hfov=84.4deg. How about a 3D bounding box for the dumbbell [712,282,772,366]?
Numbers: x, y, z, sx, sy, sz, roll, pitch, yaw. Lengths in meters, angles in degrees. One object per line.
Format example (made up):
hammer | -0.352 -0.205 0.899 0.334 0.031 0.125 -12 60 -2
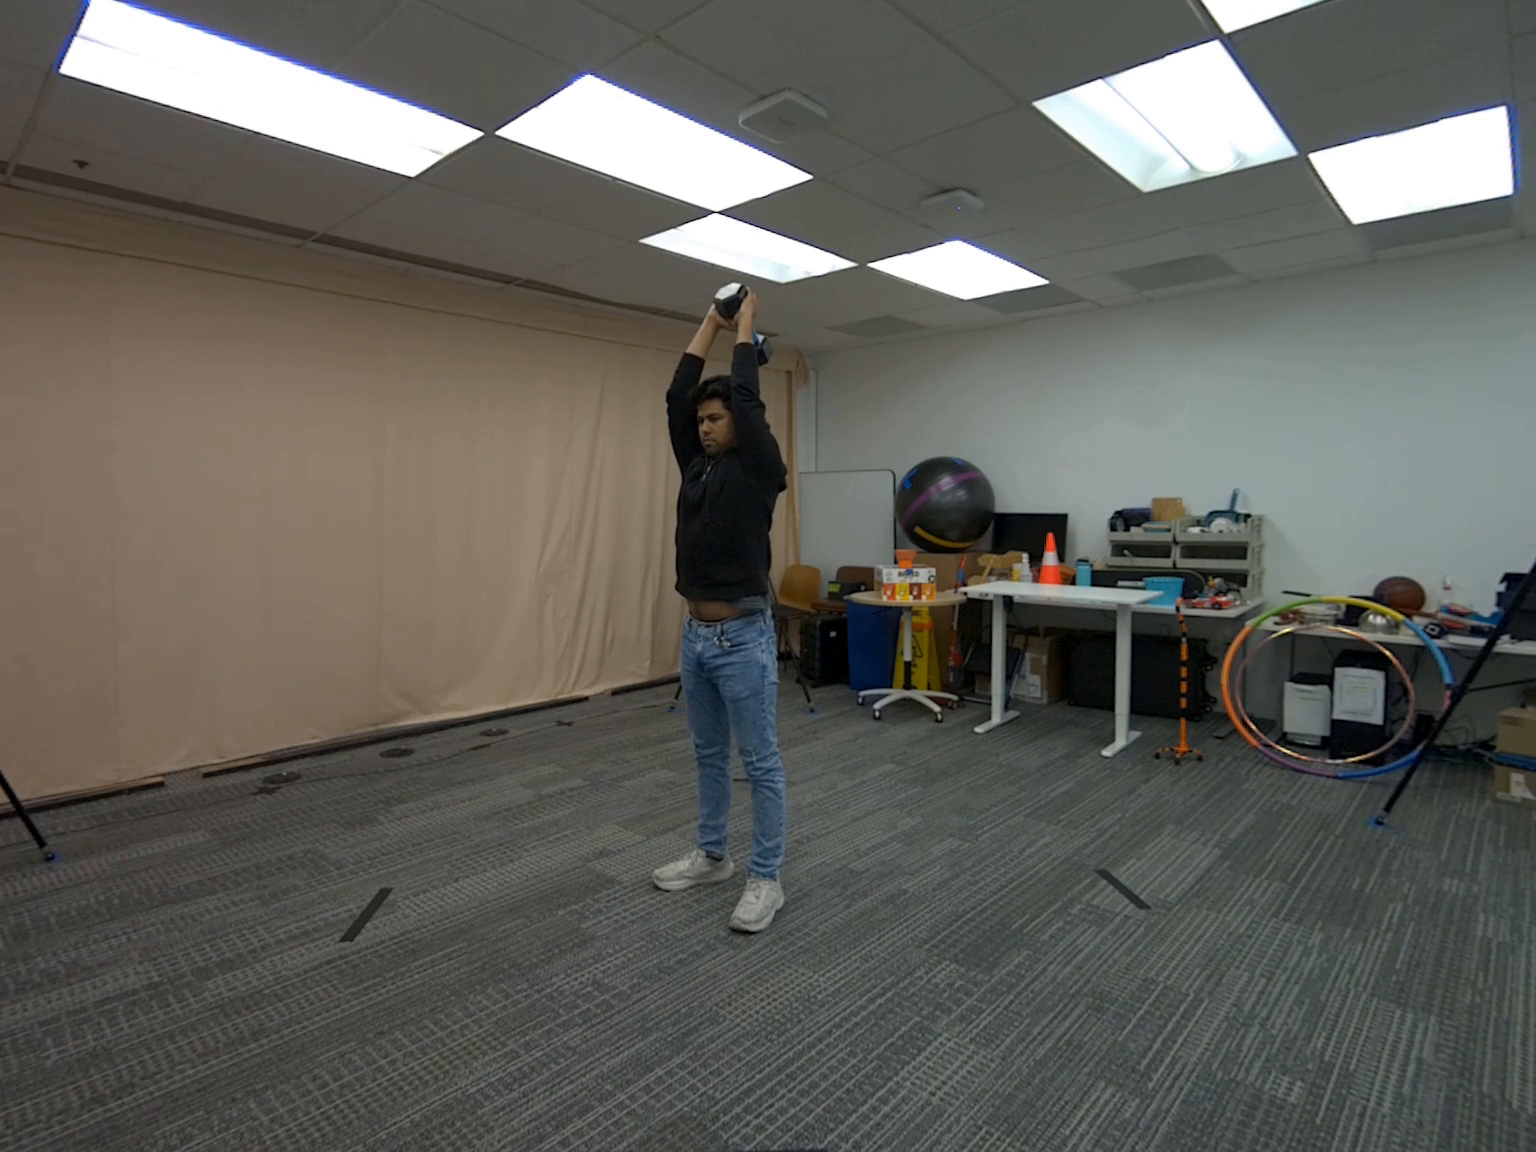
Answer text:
dumbbell | -0.081 -0.865 2.965 0.108 0.284 0.127 -40 39 -14
